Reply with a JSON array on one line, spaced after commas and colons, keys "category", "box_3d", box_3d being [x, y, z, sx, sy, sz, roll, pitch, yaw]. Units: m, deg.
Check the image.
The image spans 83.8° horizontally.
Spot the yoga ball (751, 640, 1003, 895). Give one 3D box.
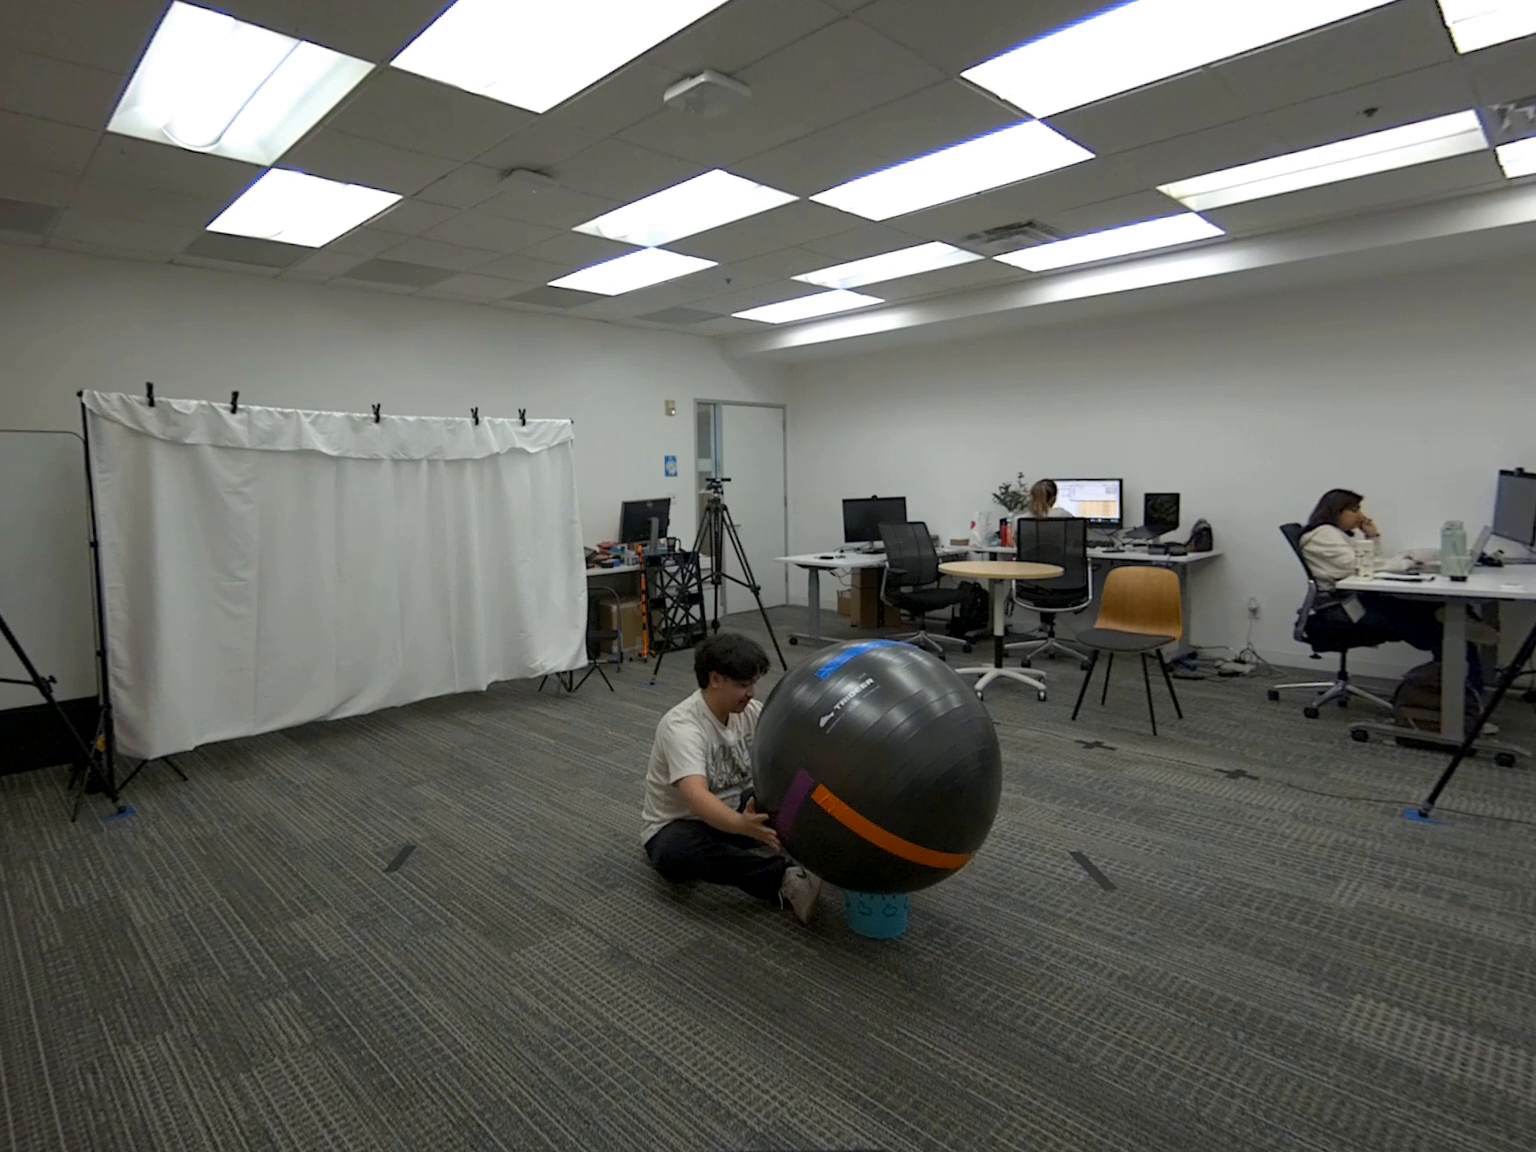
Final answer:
[{"category": "yoga ball", "box_3d": [0.329, 0.577, 2.636, 0.757, 0.755, 0.762, -1, 5, -2]}]
